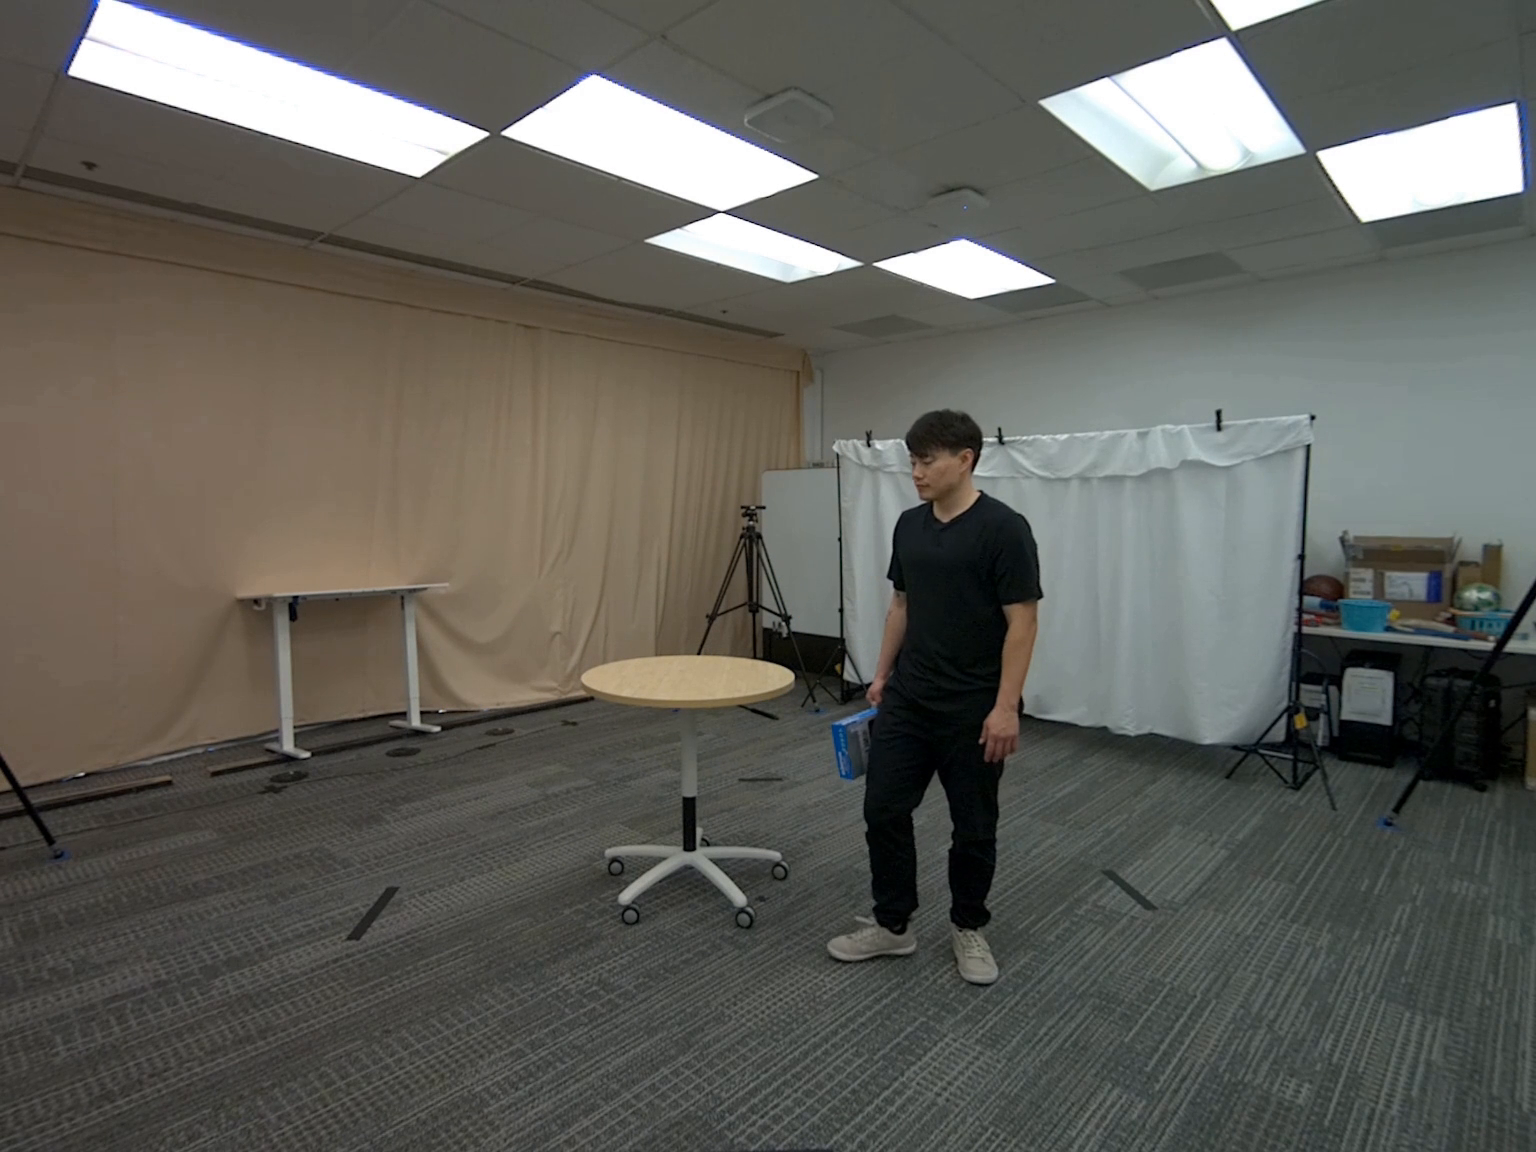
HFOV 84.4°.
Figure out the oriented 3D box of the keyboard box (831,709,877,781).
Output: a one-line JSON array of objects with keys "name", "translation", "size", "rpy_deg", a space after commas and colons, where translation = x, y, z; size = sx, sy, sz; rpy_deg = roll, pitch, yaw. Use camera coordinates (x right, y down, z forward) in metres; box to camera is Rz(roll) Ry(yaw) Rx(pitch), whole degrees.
[{"name": "keyboard box", "translation": [0.389, 0.510, 2.727], "size": [0.425, 0.176, 0.061], "rpy_deg": [-12, 3, -38]}]
